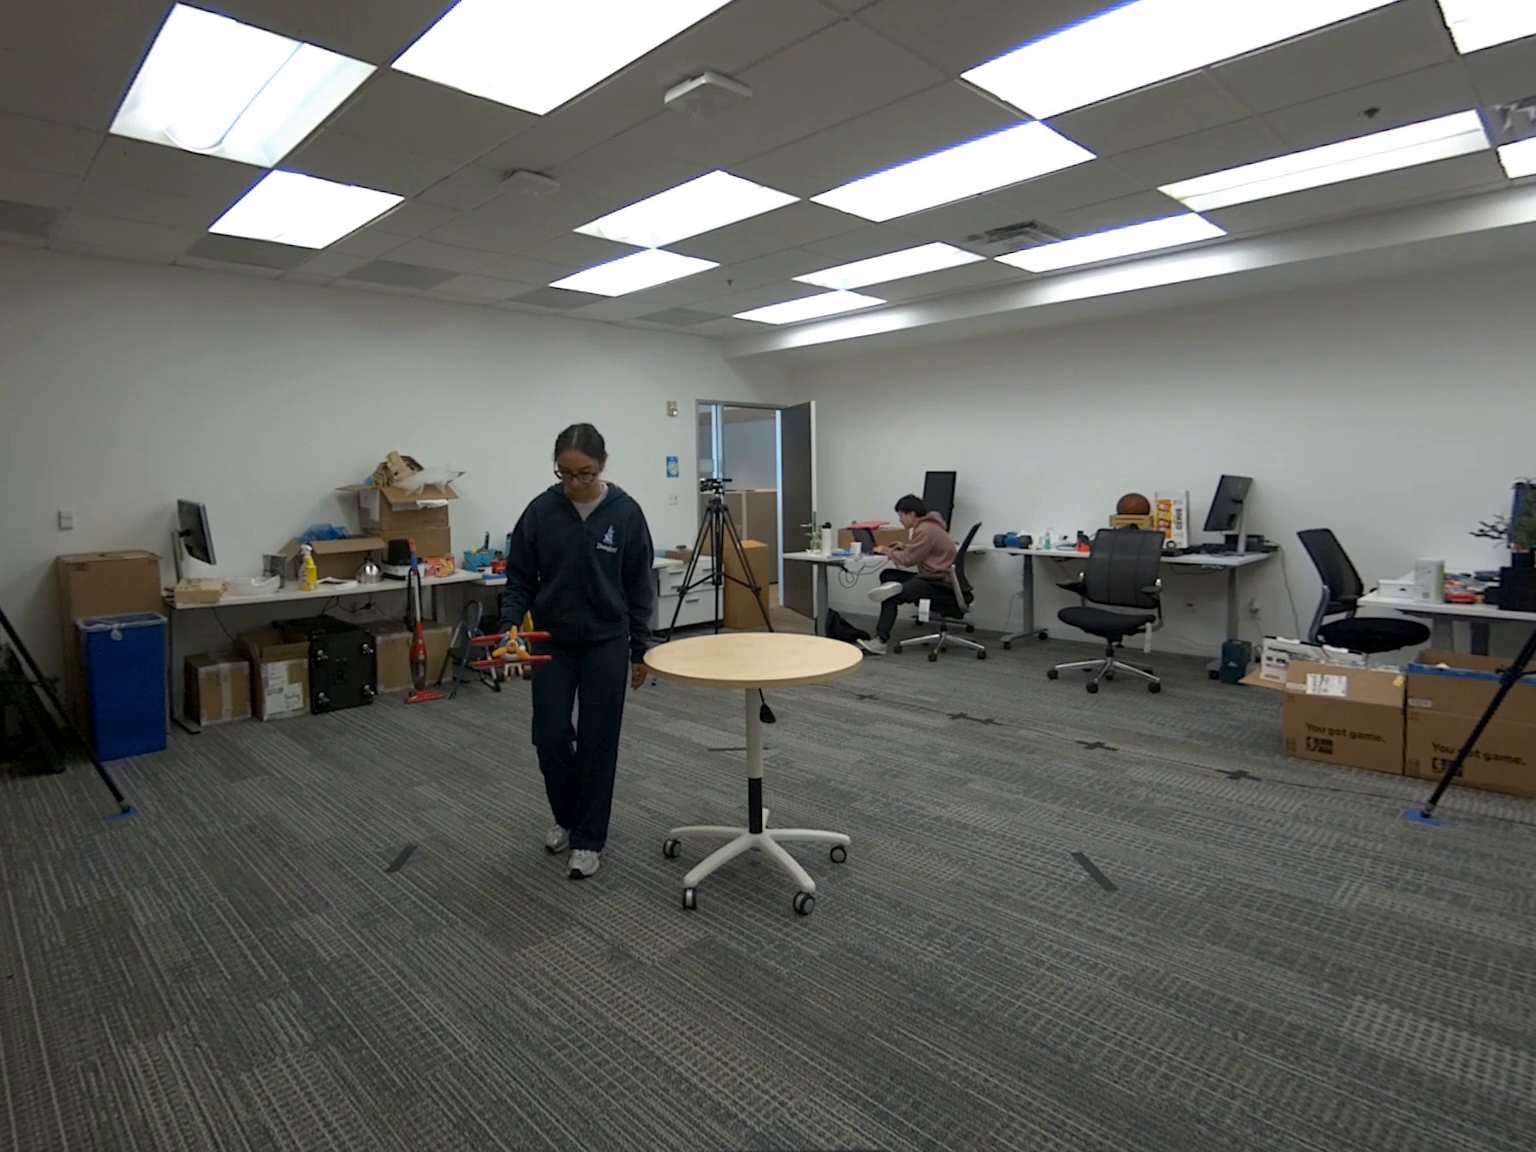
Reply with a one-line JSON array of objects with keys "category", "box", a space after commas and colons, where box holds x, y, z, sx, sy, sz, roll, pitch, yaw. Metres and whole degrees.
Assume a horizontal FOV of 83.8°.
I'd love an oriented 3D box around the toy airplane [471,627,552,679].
[{"category": "toy airplane", "box": [-0.877, 0.274, 2.879, 0.244, 0.157, 0.266, -4, 0, -41]}]
